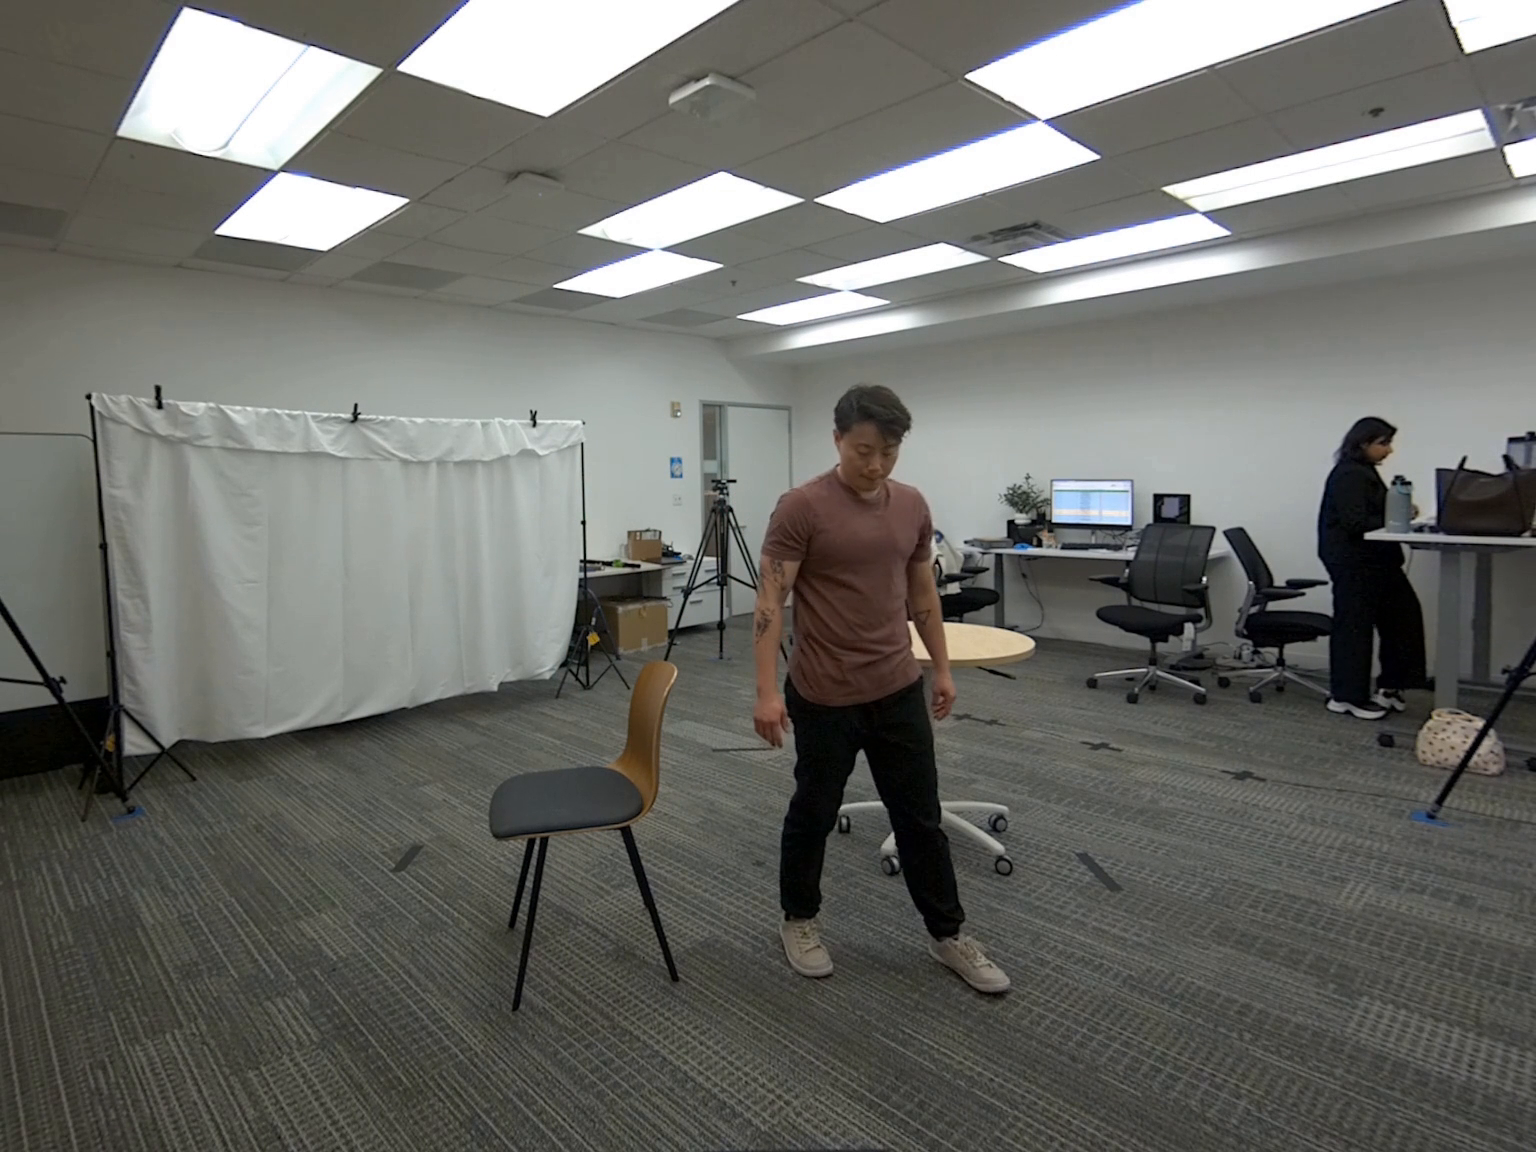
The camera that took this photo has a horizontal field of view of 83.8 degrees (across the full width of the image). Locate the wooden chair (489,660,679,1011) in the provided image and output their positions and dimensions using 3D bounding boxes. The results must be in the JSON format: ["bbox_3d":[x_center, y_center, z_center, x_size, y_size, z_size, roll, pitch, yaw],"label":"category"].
[{"bbox_3d":[-0.546,0.701,2.511,0.514,0.875,0.487,2,4,-18],"label":"wooden chair"}]
